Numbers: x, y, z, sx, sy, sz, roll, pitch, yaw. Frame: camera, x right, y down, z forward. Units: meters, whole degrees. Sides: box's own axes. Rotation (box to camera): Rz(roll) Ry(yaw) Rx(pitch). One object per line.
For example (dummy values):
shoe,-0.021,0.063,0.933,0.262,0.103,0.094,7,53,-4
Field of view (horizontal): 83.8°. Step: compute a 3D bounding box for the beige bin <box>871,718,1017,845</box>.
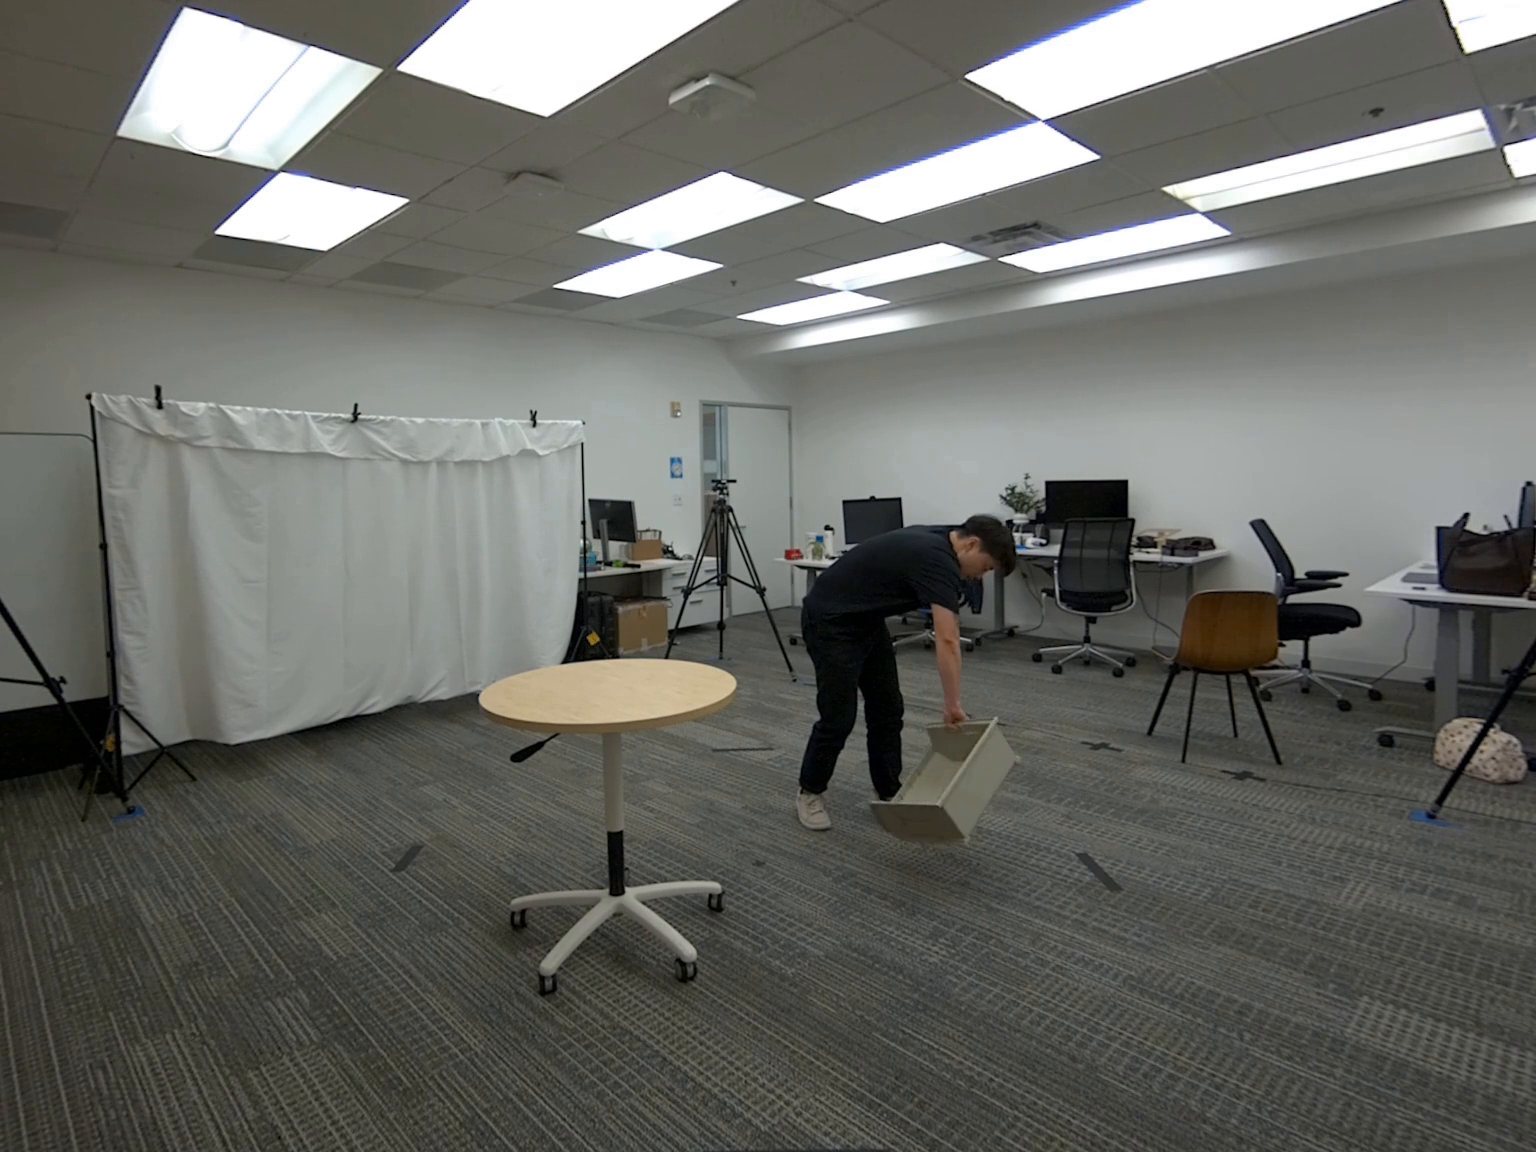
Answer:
beige bin,0.612,0.719,2.997,0.421,0.187,0.383,-43,13,-35
